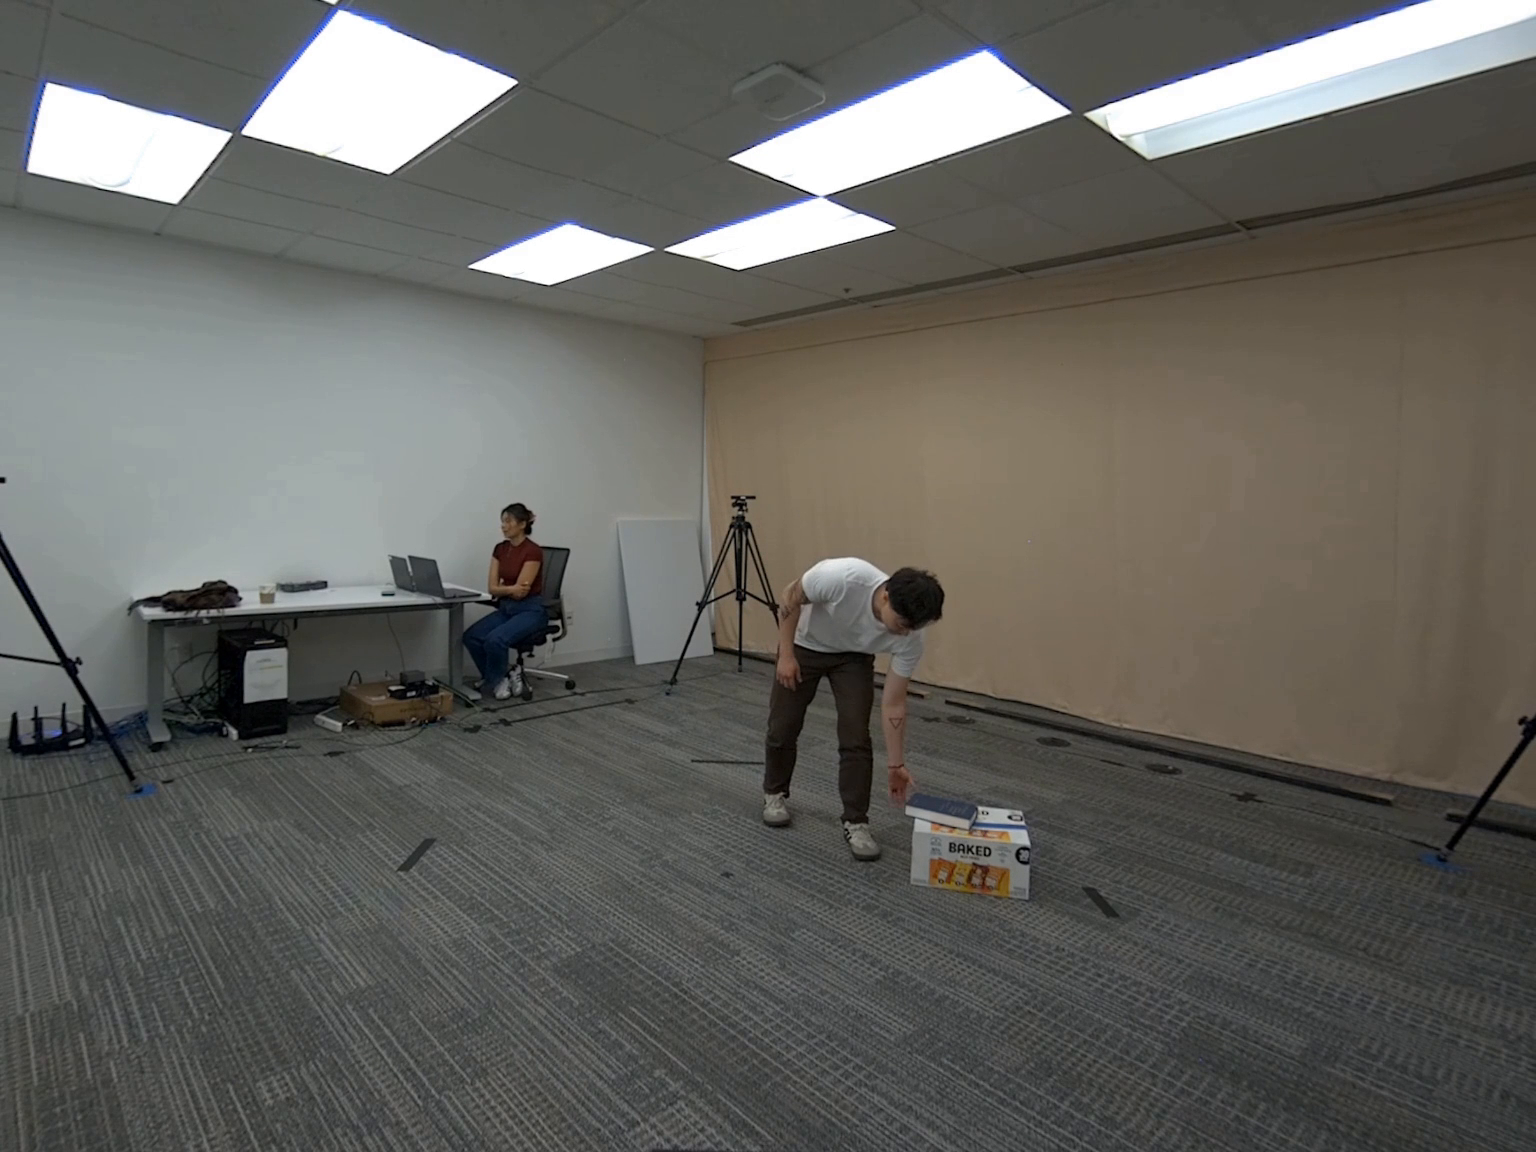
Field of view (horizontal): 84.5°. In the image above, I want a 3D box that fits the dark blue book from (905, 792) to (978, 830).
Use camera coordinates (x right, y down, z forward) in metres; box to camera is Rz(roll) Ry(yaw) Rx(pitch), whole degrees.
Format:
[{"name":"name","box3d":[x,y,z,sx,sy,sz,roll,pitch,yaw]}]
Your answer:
[{"name":"dark blue book","box3d":[0.661,0.896,3.199,0.250,0.045,0.161,7,6,25]}]
